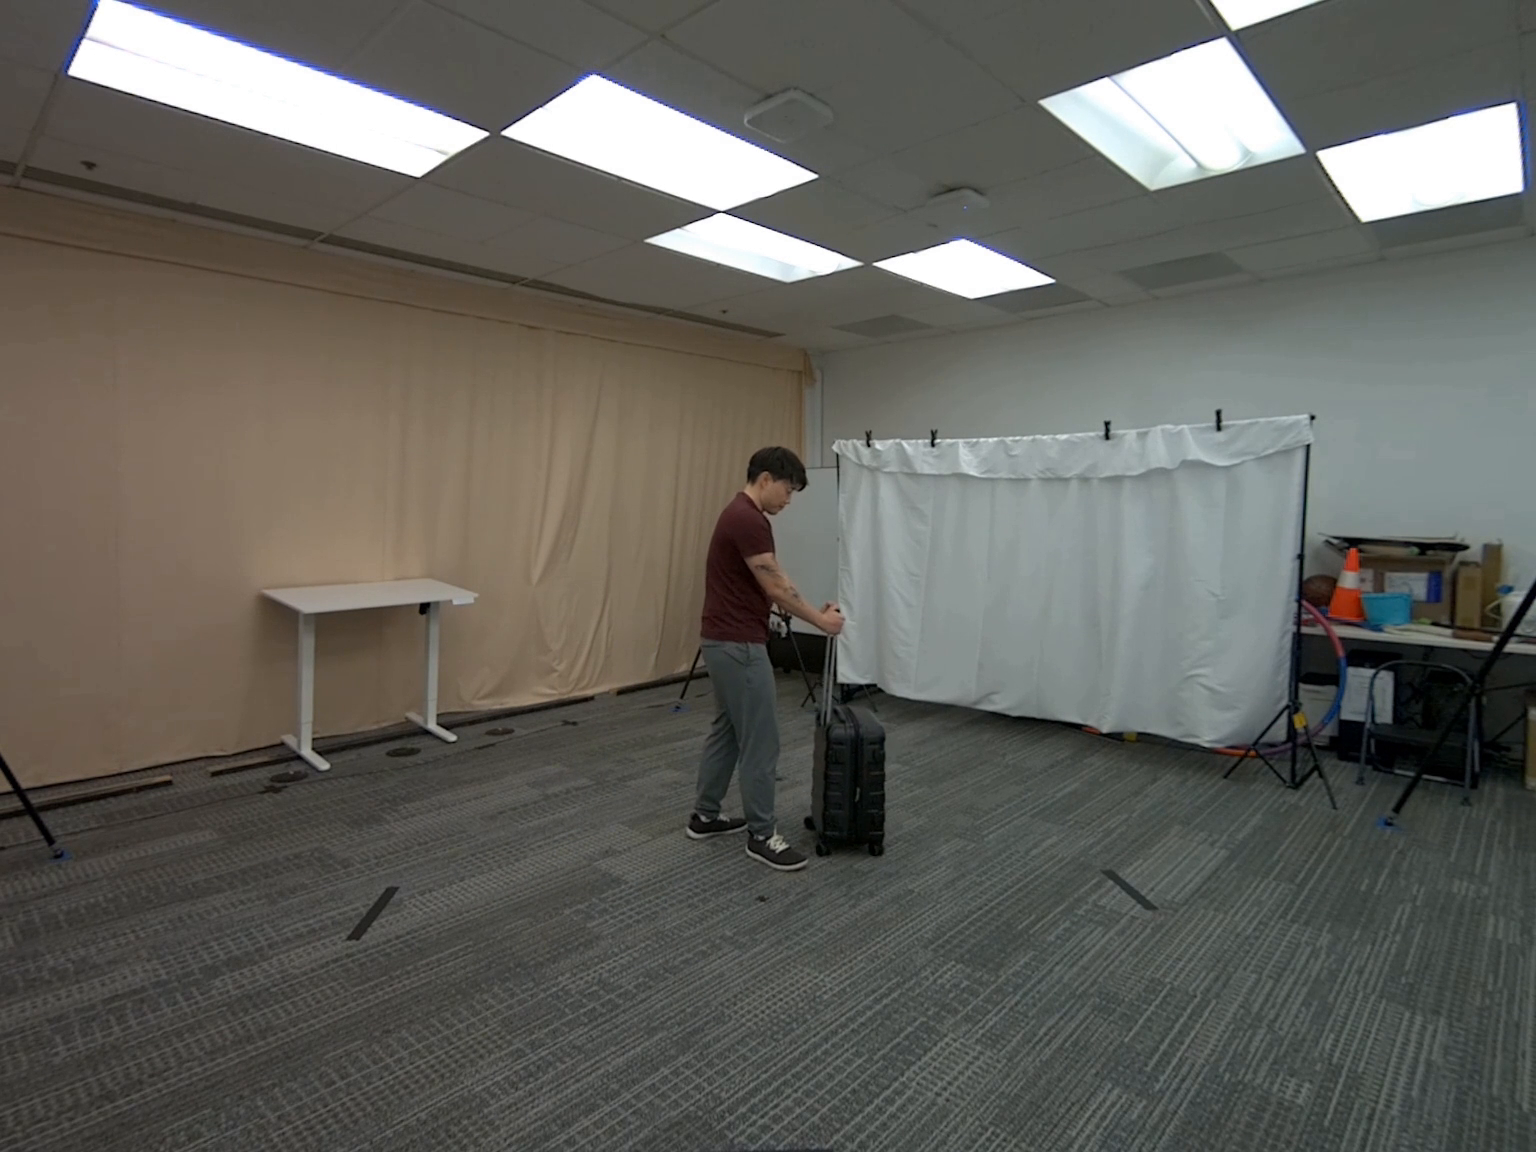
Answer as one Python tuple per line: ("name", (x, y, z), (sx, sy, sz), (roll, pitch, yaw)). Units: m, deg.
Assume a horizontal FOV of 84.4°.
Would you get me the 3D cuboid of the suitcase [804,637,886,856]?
("suitcase", (0.346, 0.628, 3.453), (0.256, 0.976, 0.386), (3, 4, -4))
